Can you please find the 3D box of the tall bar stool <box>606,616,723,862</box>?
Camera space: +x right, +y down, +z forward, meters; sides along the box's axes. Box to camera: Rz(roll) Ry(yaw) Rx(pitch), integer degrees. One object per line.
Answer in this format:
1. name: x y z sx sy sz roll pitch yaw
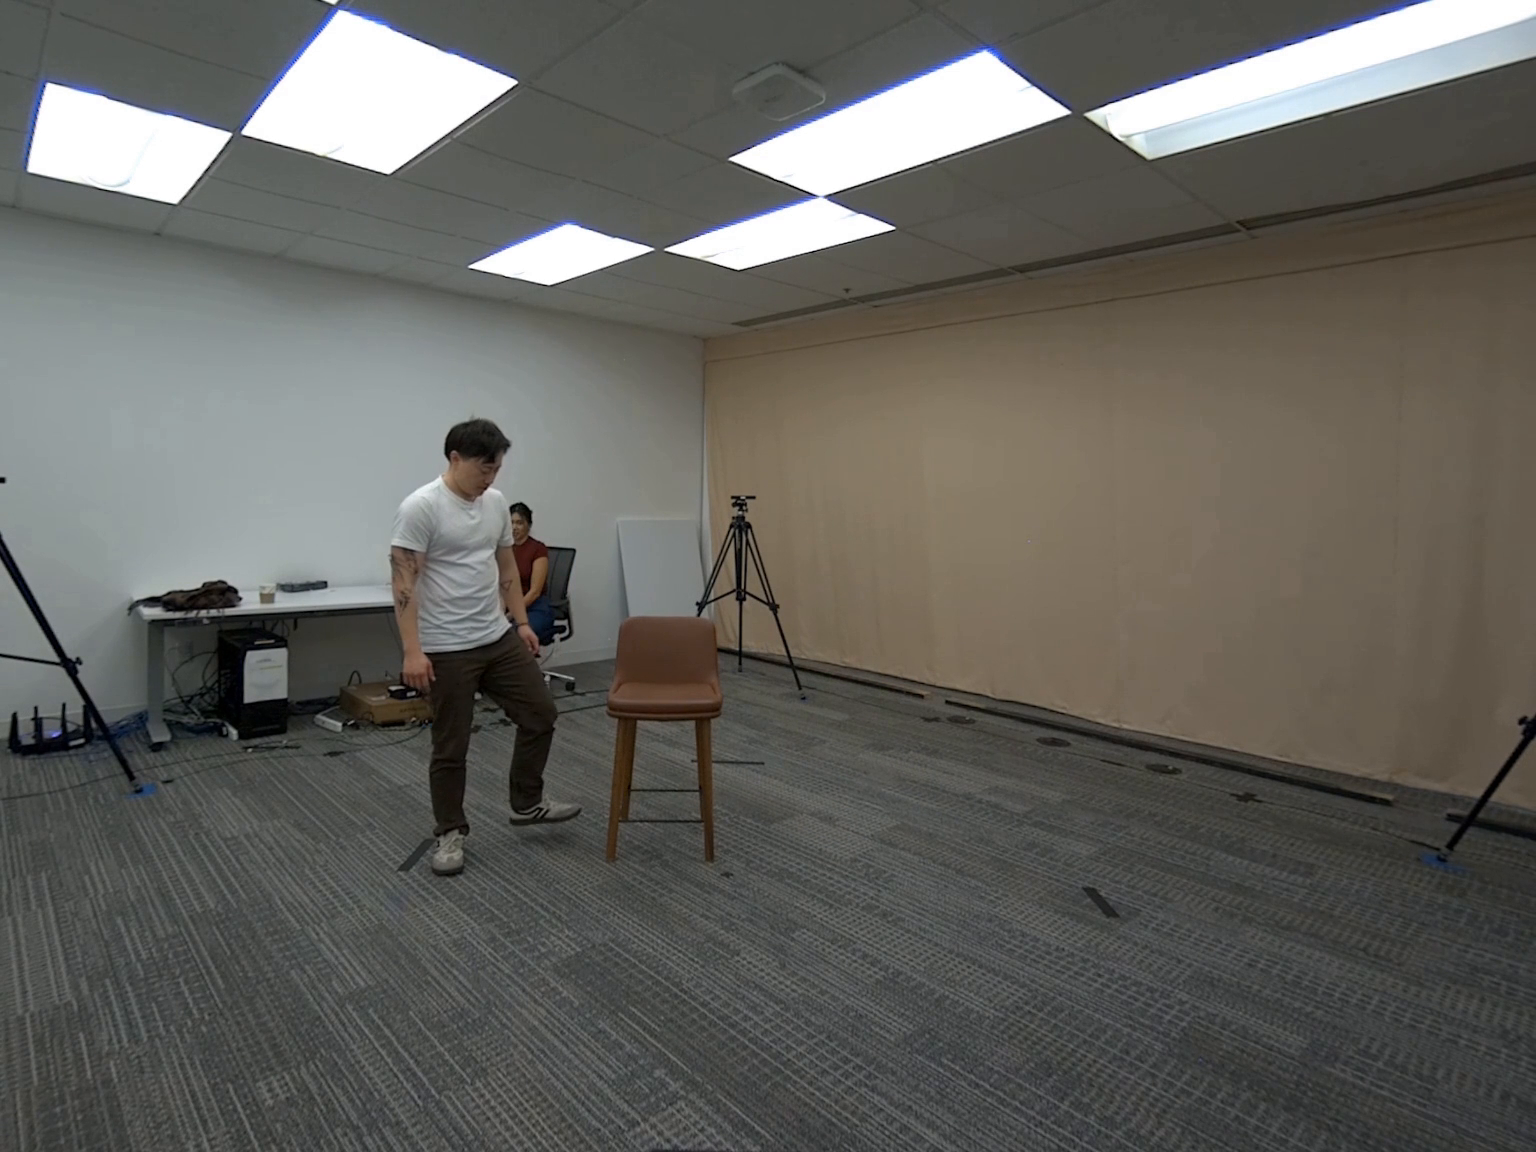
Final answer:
1. tall bar stool: -0.420 0.636 3.405 0.455 0.889 0.469 1 2 -4
